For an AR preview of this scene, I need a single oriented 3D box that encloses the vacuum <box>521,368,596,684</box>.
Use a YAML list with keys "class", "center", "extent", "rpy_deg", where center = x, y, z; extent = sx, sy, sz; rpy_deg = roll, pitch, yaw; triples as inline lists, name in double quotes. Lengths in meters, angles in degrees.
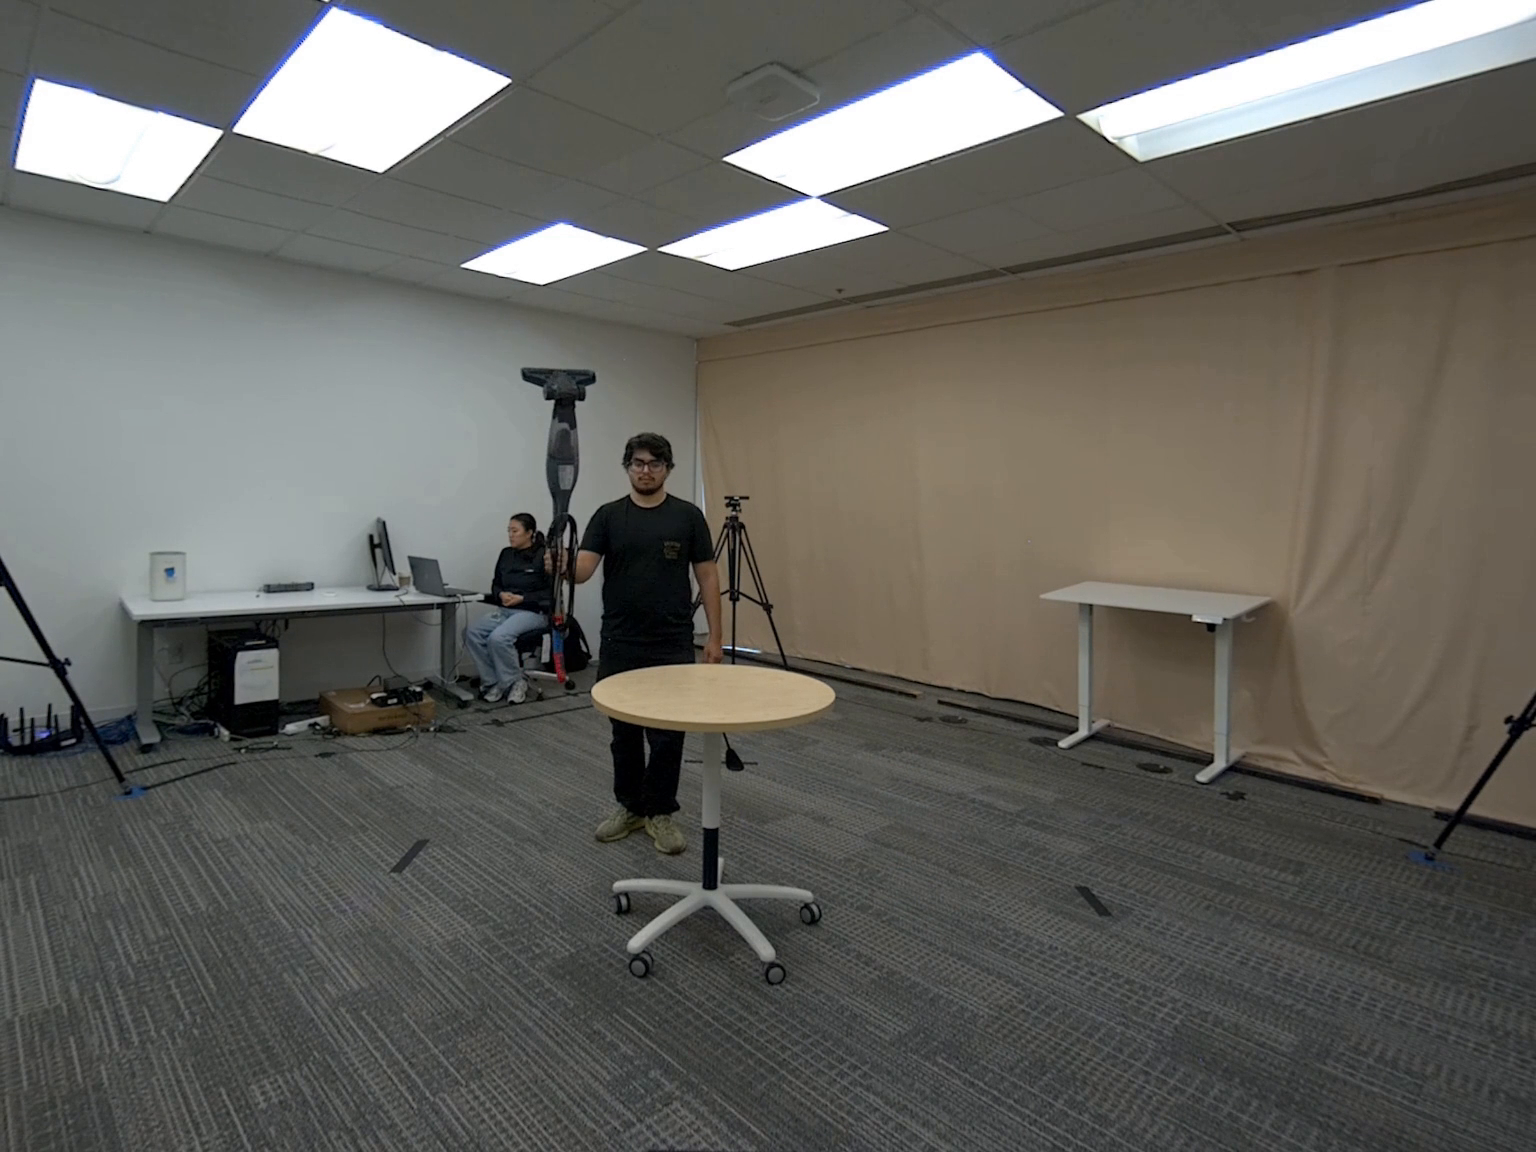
- class: "vacuum"
  center: [-0.723, -0.151, 2.903]
  extent: [0.248, 1.041, 0.147]
  rpy_deg: [-4, 12, -24]
